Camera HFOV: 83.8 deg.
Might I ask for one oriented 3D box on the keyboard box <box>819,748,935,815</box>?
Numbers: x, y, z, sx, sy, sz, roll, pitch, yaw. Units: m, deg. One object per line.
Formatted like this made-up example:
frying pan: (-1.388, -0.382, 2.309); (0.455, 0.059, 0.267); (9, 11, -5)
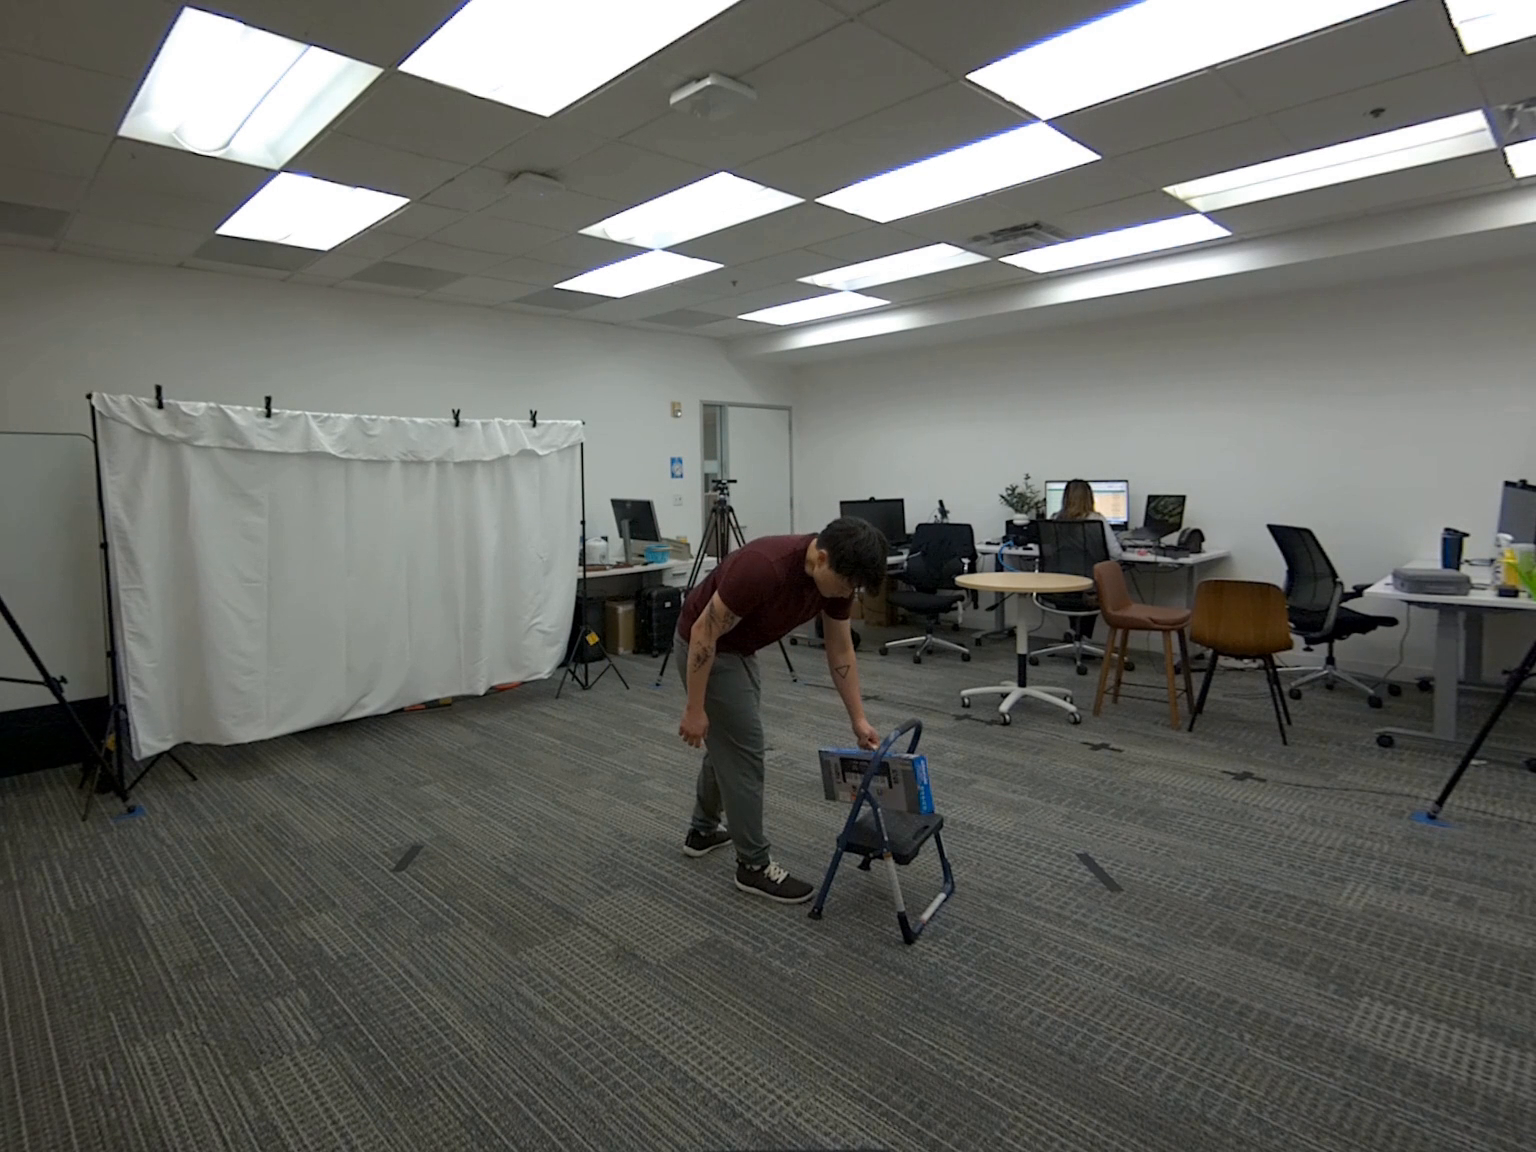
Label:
keyboard box: (0.340, 0.662, 2.799); (0.057, 0.176, 0.447); (-5, -2, -38)
